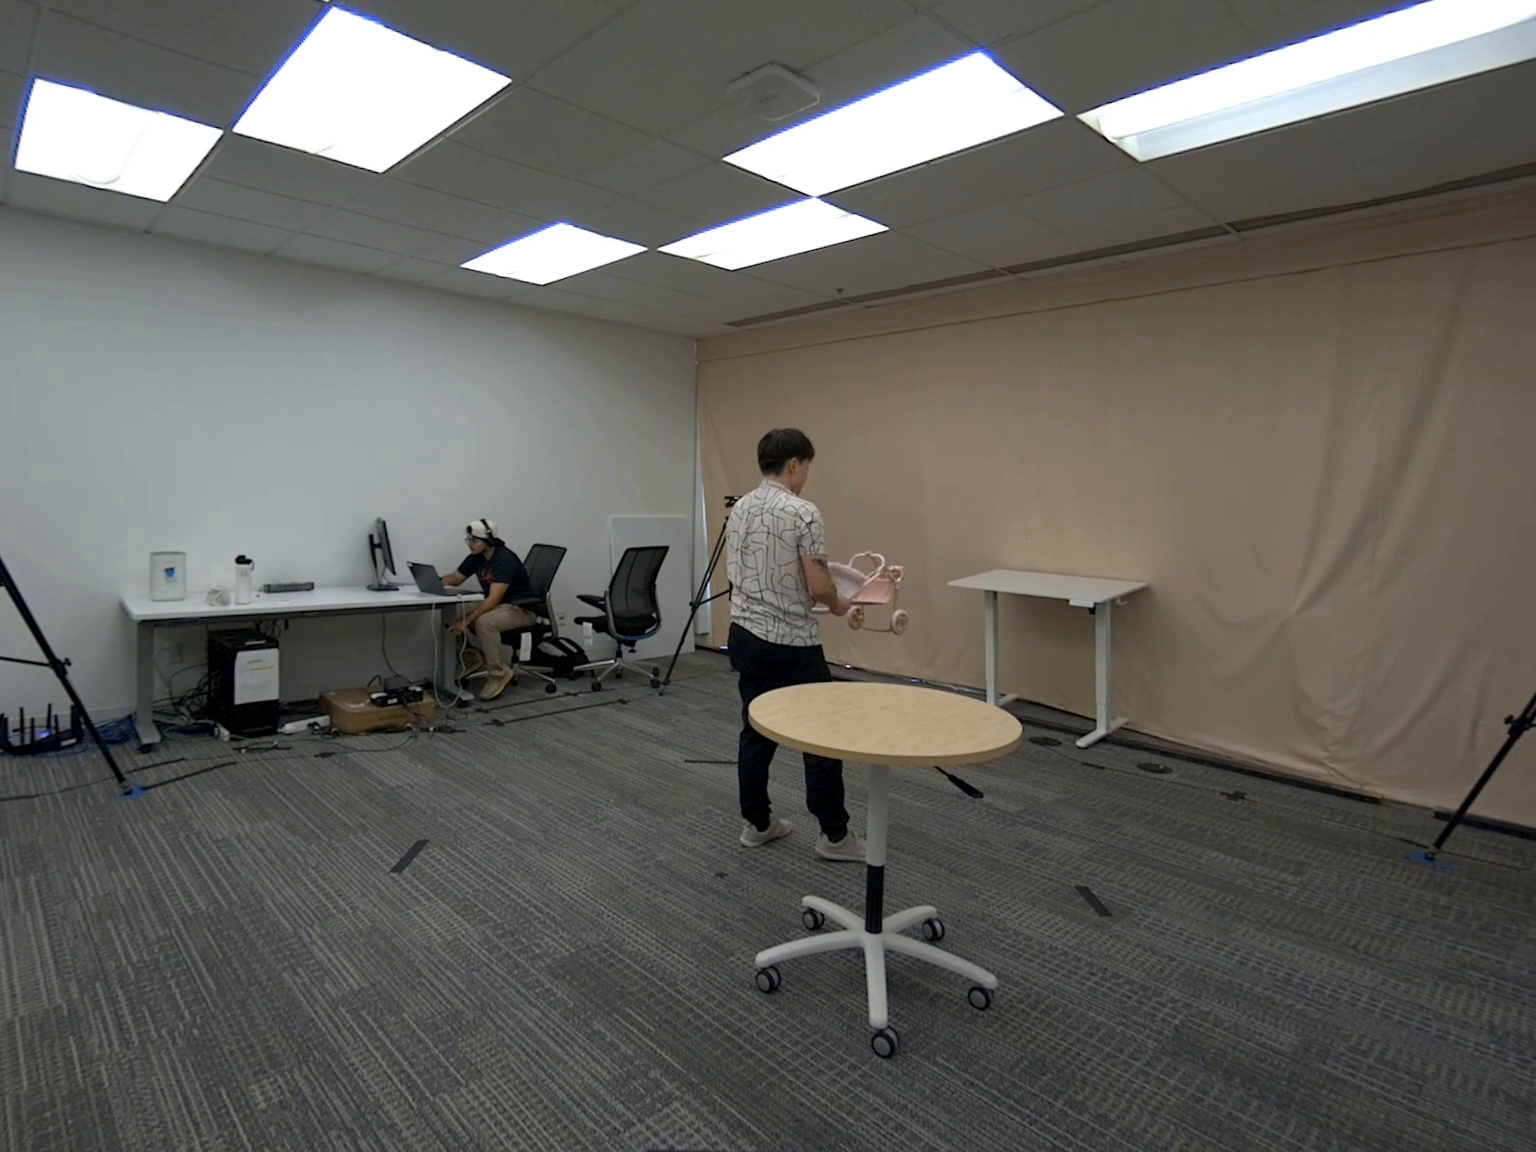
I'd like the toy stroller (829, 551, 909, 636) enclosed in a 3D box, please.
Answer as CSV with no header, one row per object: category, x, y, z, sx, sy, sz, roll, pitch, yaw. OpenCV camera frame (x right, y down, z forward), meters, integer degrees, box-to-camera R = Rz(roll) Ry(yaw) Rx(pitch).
toy stroller,0.403,0.059,3.671,0.520,0.342,0.289,20,-7,-37
